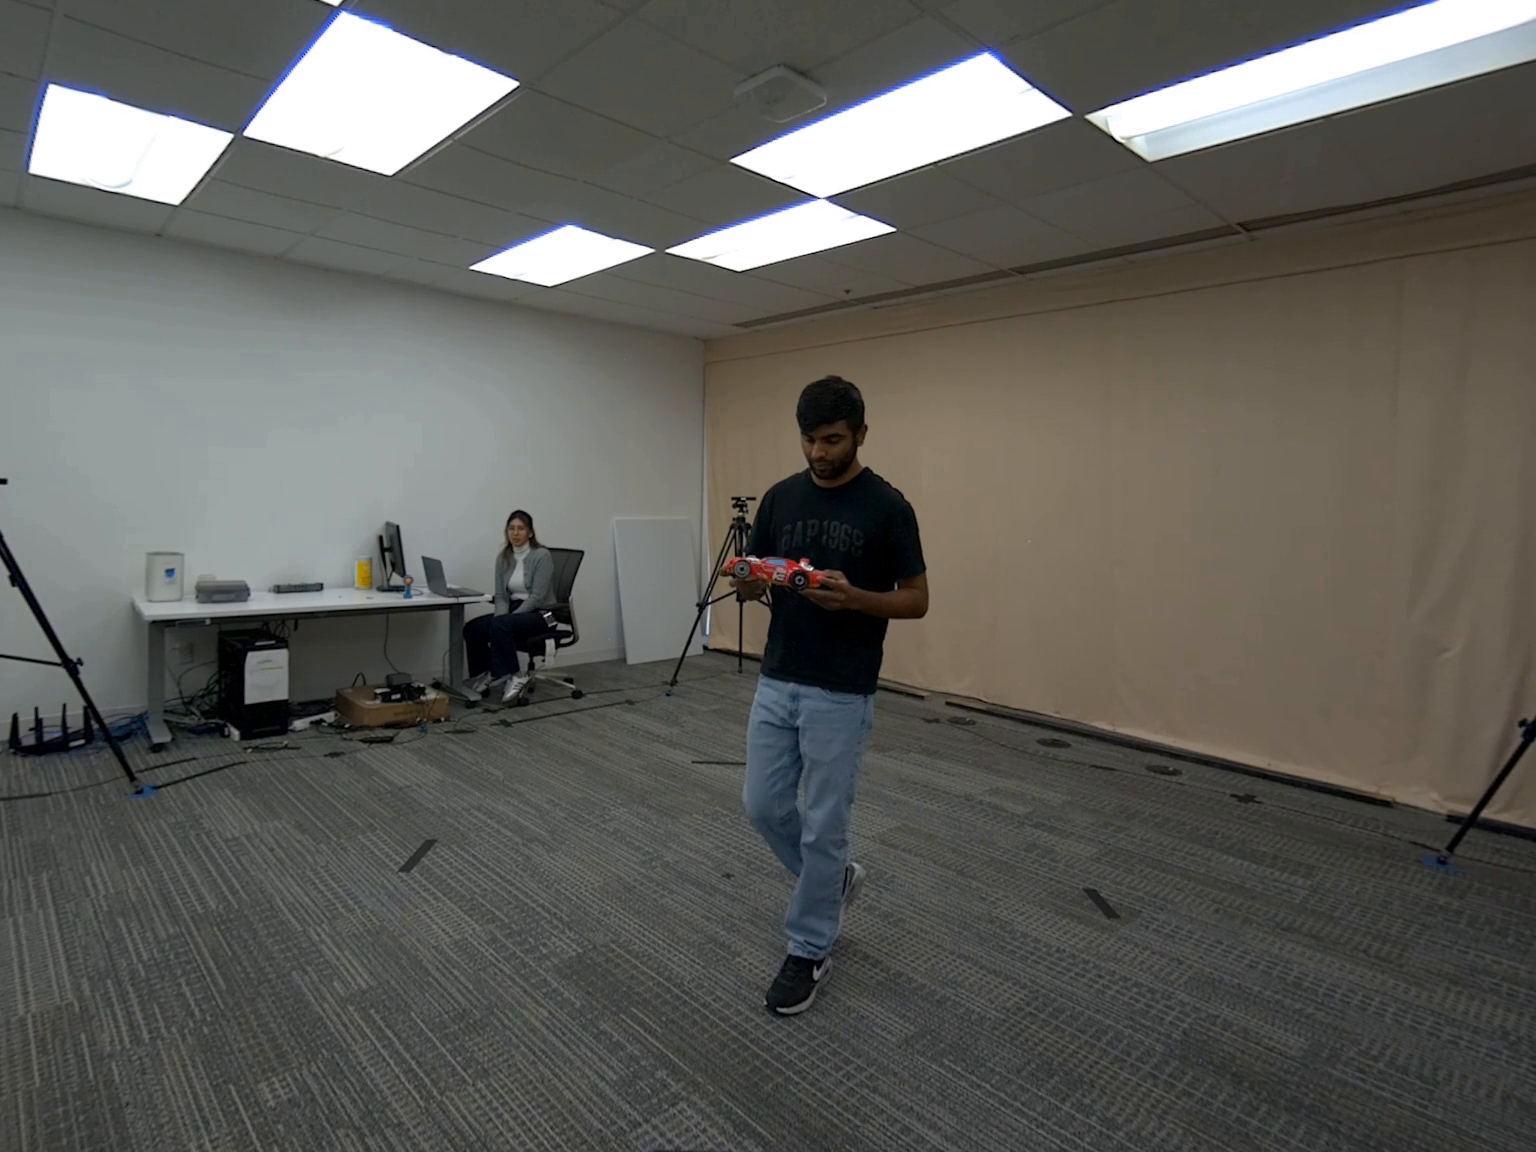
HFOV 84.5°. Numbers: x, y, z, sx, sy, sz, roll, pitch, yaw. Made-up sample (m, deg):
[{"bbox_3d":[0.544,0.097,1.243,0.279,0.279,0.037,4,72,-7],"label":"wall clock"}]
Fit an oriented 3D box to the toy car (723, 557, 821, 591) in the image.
[{"bbox_3d":[0.027,0.002,2.119,0.253,0.083,0.130,2,-4,-5],"label":"toy car"}]
